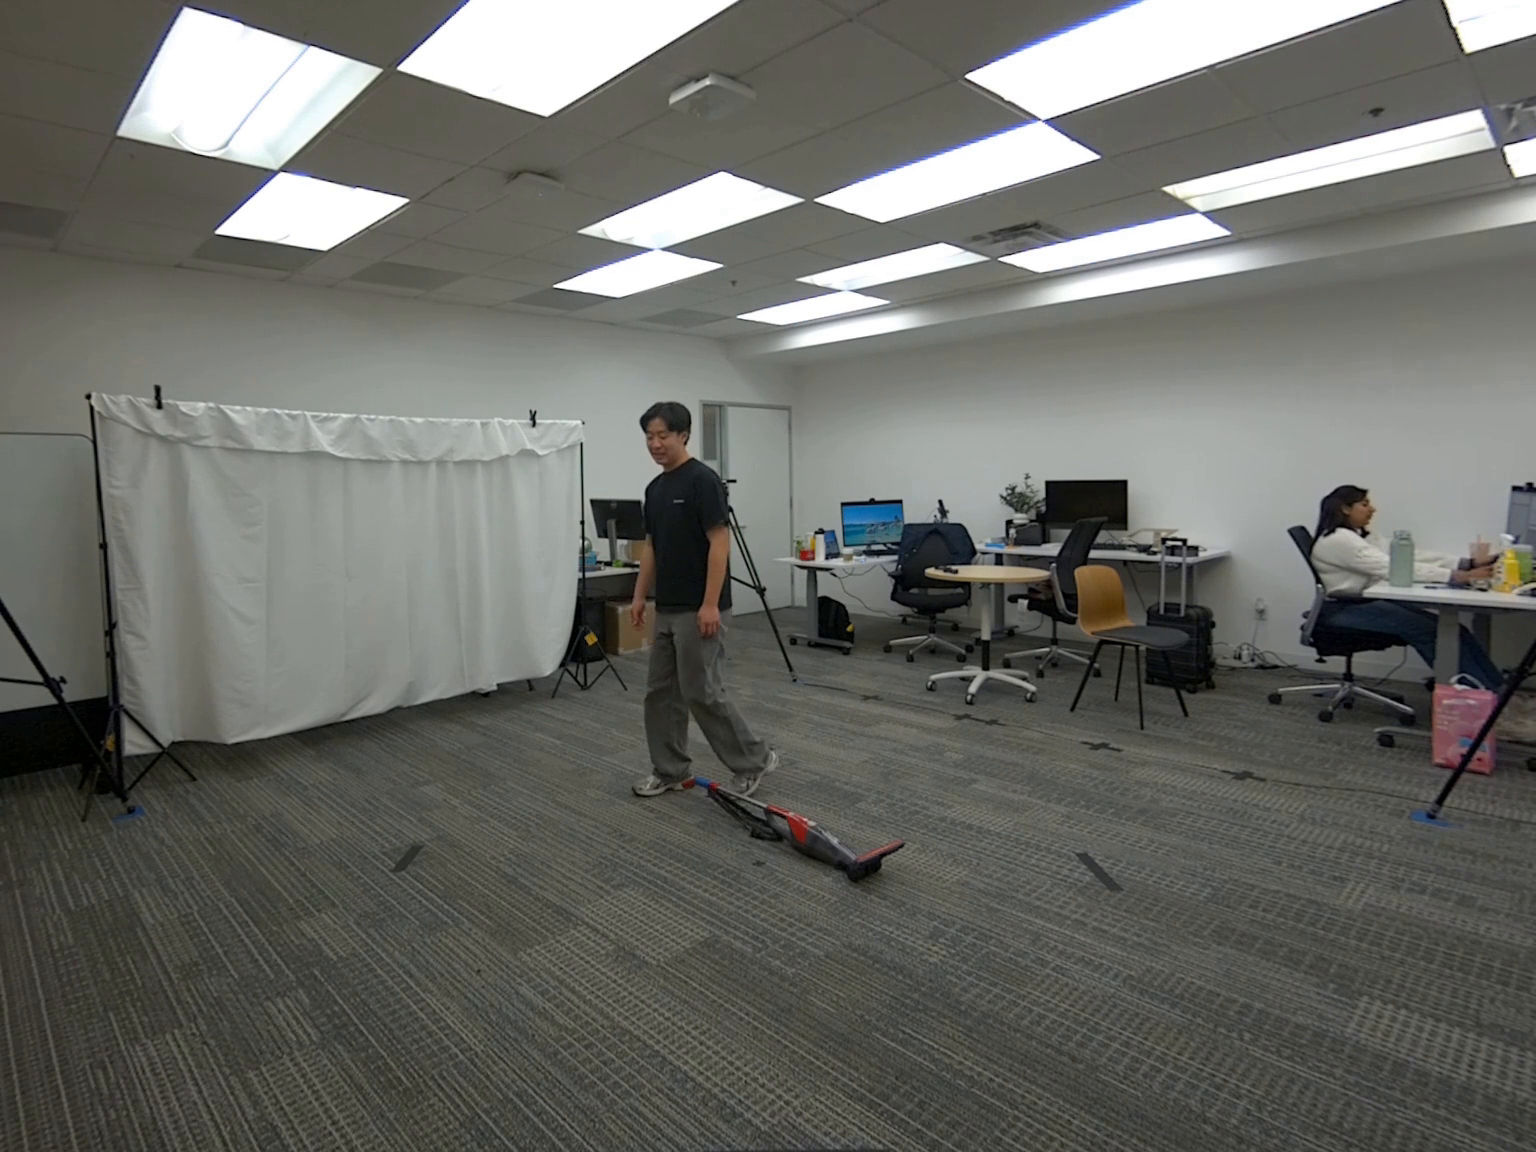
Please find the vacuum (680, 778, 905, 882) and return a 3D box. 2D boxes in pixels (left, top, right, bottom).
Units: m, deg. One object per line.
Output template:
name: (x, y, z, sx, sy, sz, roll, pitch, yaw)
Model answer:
vacuum: (0.009, 0.962, 3.350, 0.246, 0.143, 1.082, -5, 8, -41)
